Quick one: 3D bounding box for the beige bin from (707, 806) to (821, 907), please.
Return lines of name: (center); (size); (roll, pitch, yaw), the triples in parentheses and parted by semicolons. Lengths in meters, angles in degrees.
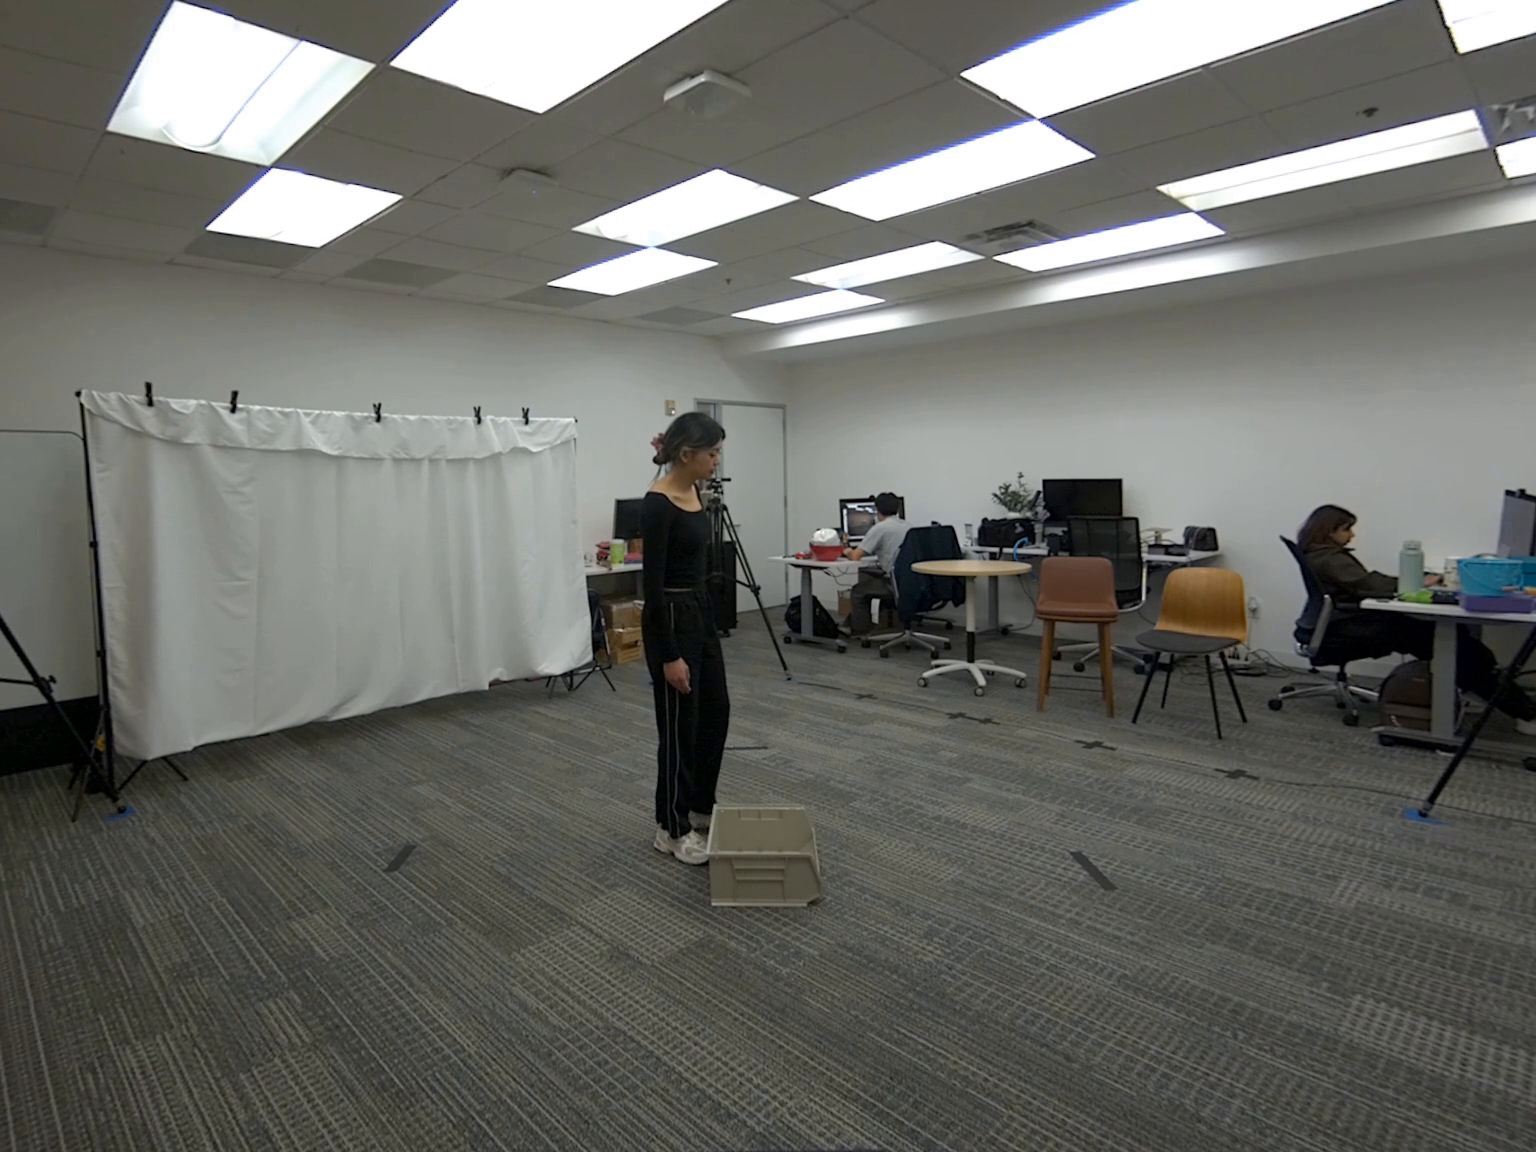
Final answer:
beige bin: (-0.007, 0.971, 2.980); (0.378, 0.188, 0.424); (-2, 7, 0)
